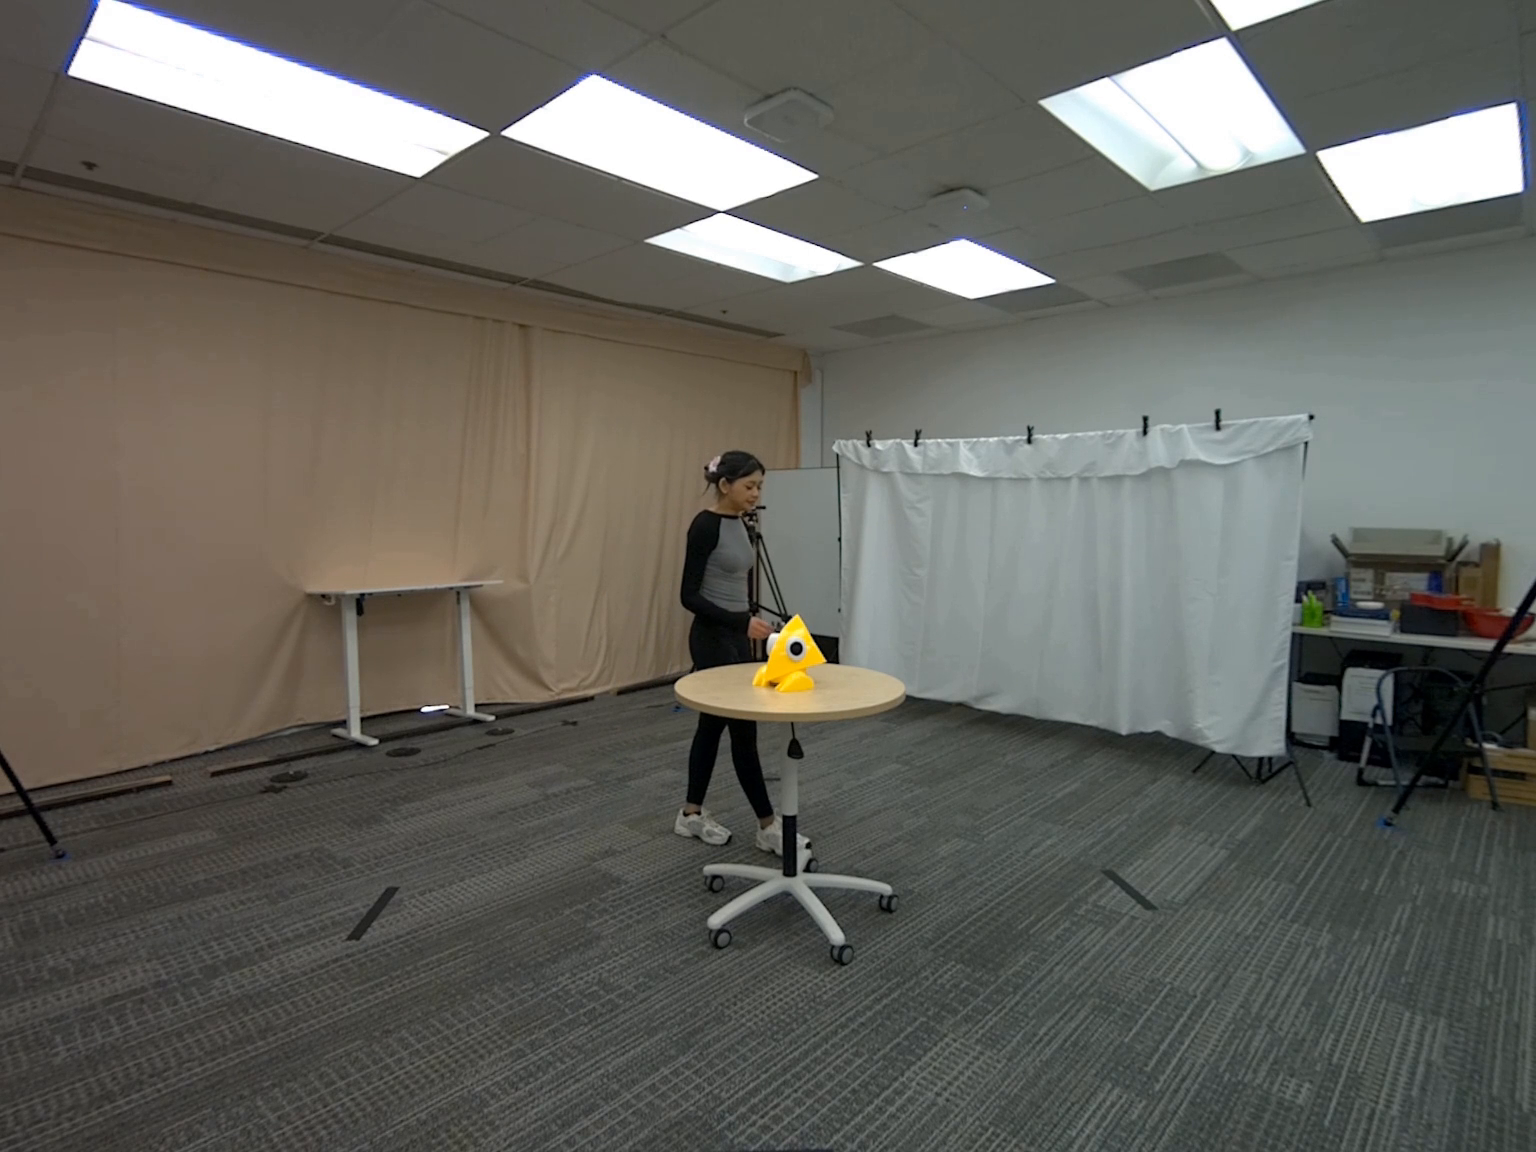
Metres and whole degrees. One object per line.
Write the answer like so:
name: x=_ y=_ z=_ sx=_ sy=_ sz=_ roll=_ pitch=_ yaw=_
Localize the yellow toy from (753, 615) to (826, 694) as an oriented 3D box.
yellow toy: x=0.062 y=0.251 z=2.808 sx=0.187 sy=0.230 sz=0.211 roll=-5 pitch=6 yaw=-42
